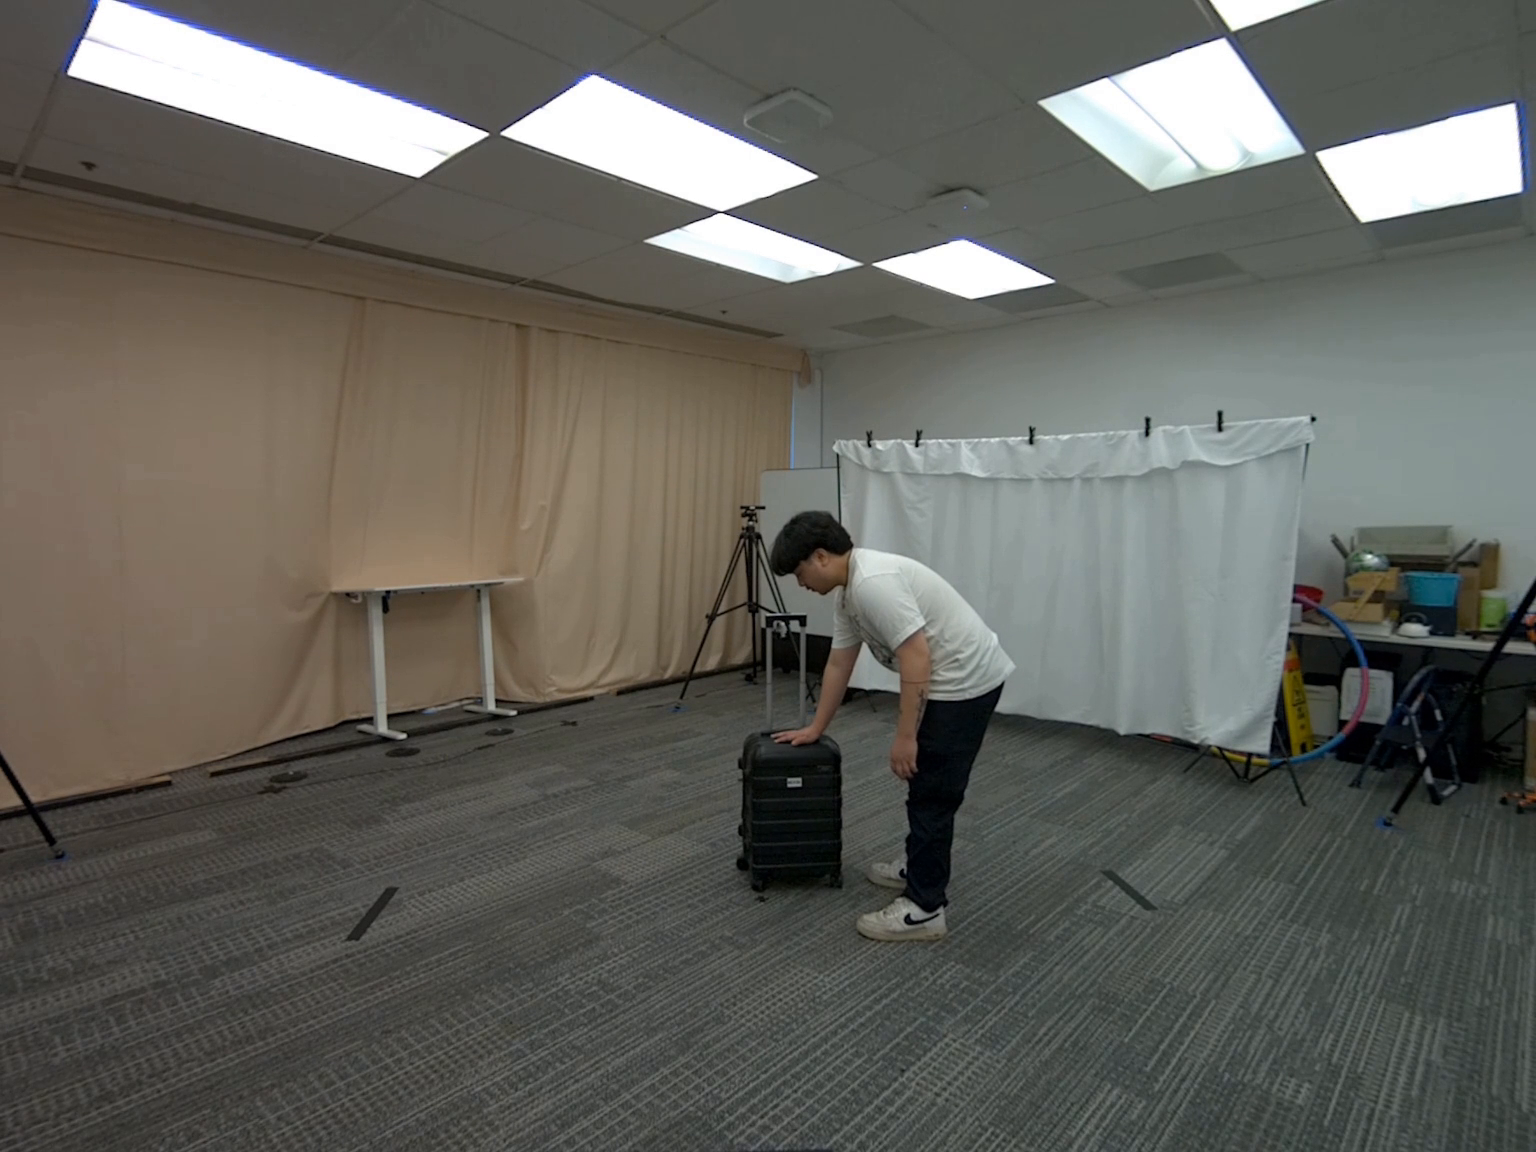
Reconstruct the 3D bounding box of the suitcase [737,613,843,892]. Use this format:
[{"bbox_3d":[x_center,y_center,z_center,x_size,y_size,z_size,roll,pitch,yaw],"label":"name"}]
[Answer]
[{"bbox_3d":[0.092,0.658,3.116,0.382,0.975,0.259,0,6,-6],"label":"suitcase"}]
